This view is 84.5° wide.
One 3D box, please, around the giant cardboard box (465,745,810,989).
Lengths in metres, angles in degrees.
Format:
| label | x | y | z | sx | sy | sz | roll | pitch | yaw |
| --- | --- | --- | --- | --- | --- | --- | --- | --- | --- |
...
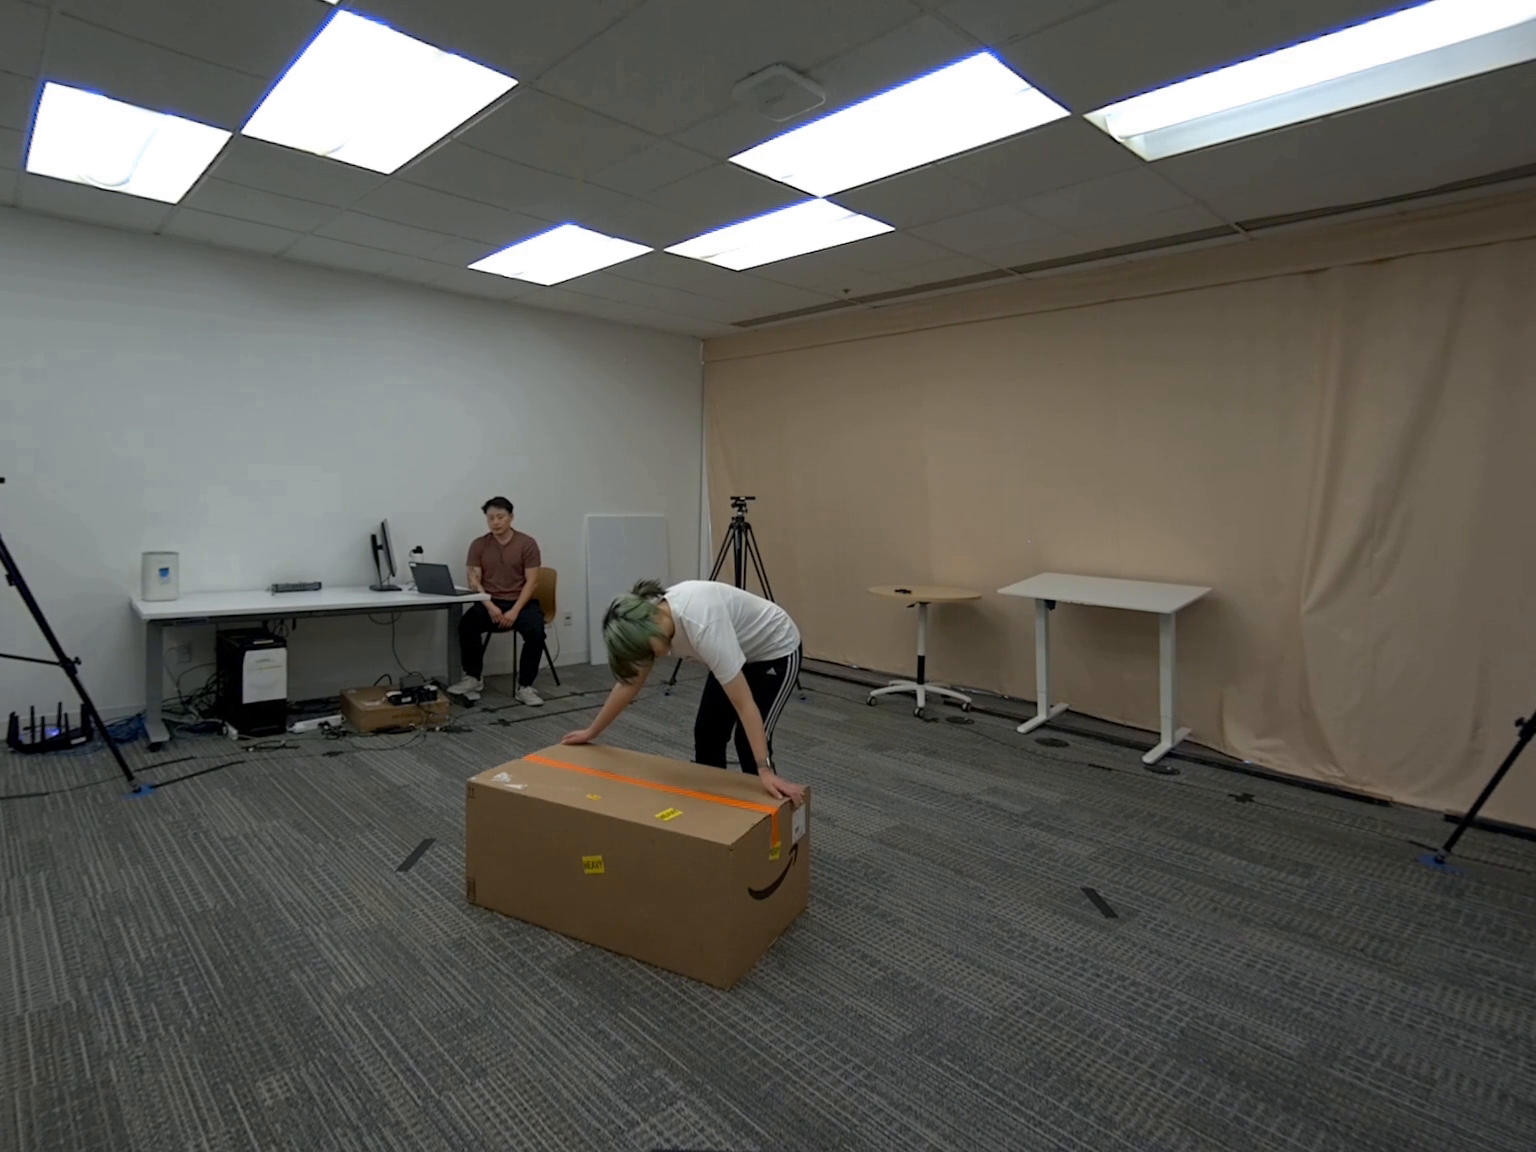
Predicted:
| label | x | y | z | sx | sy | sz | roll | pitch | yaw |
| --- | --- | --- | --- | --- | --- | --- | --- | --- | --- |
| giant cardboard box | -0.445 | 0.906 | 2.844 | 1.047 | 0.425 | 0.568 | 4 | 6 | 27 |
